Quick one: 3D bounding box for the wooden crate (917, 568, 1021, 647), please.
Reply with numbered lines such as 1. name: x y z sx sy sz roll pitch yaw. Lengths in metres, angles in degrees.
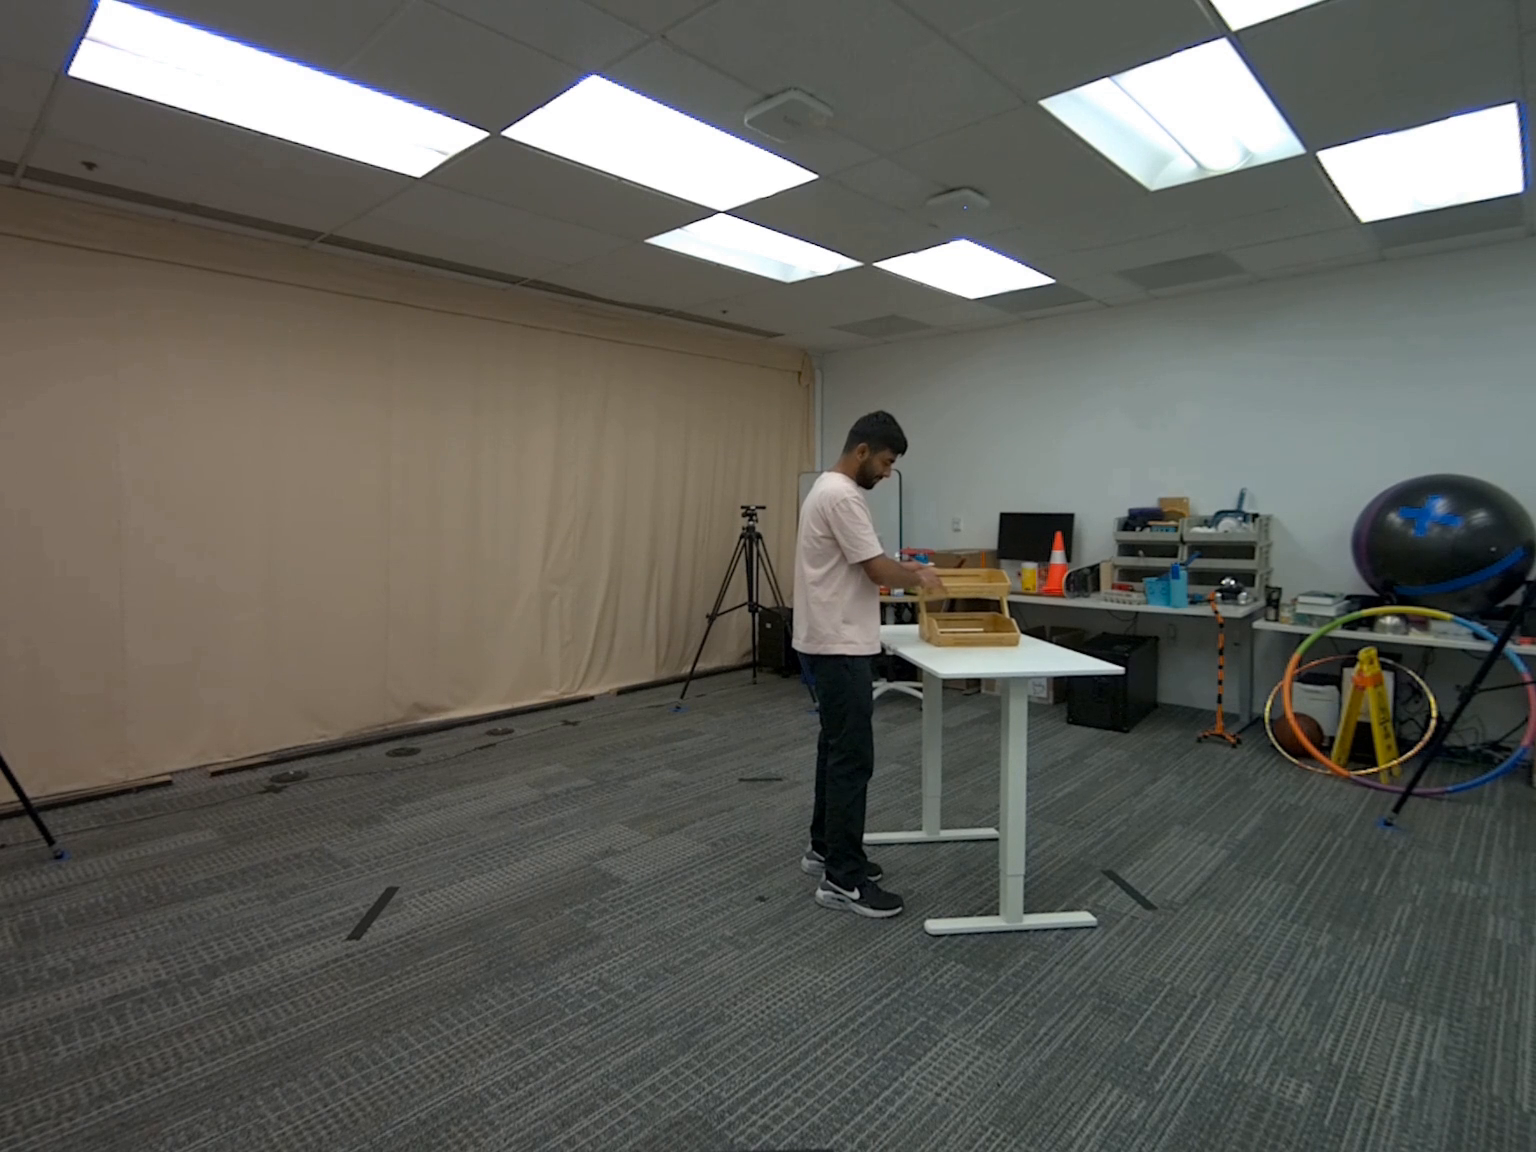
1. wooden crate: 0.753 0.114 3.154 0.323 0.273 0.303 -1 2 -4
